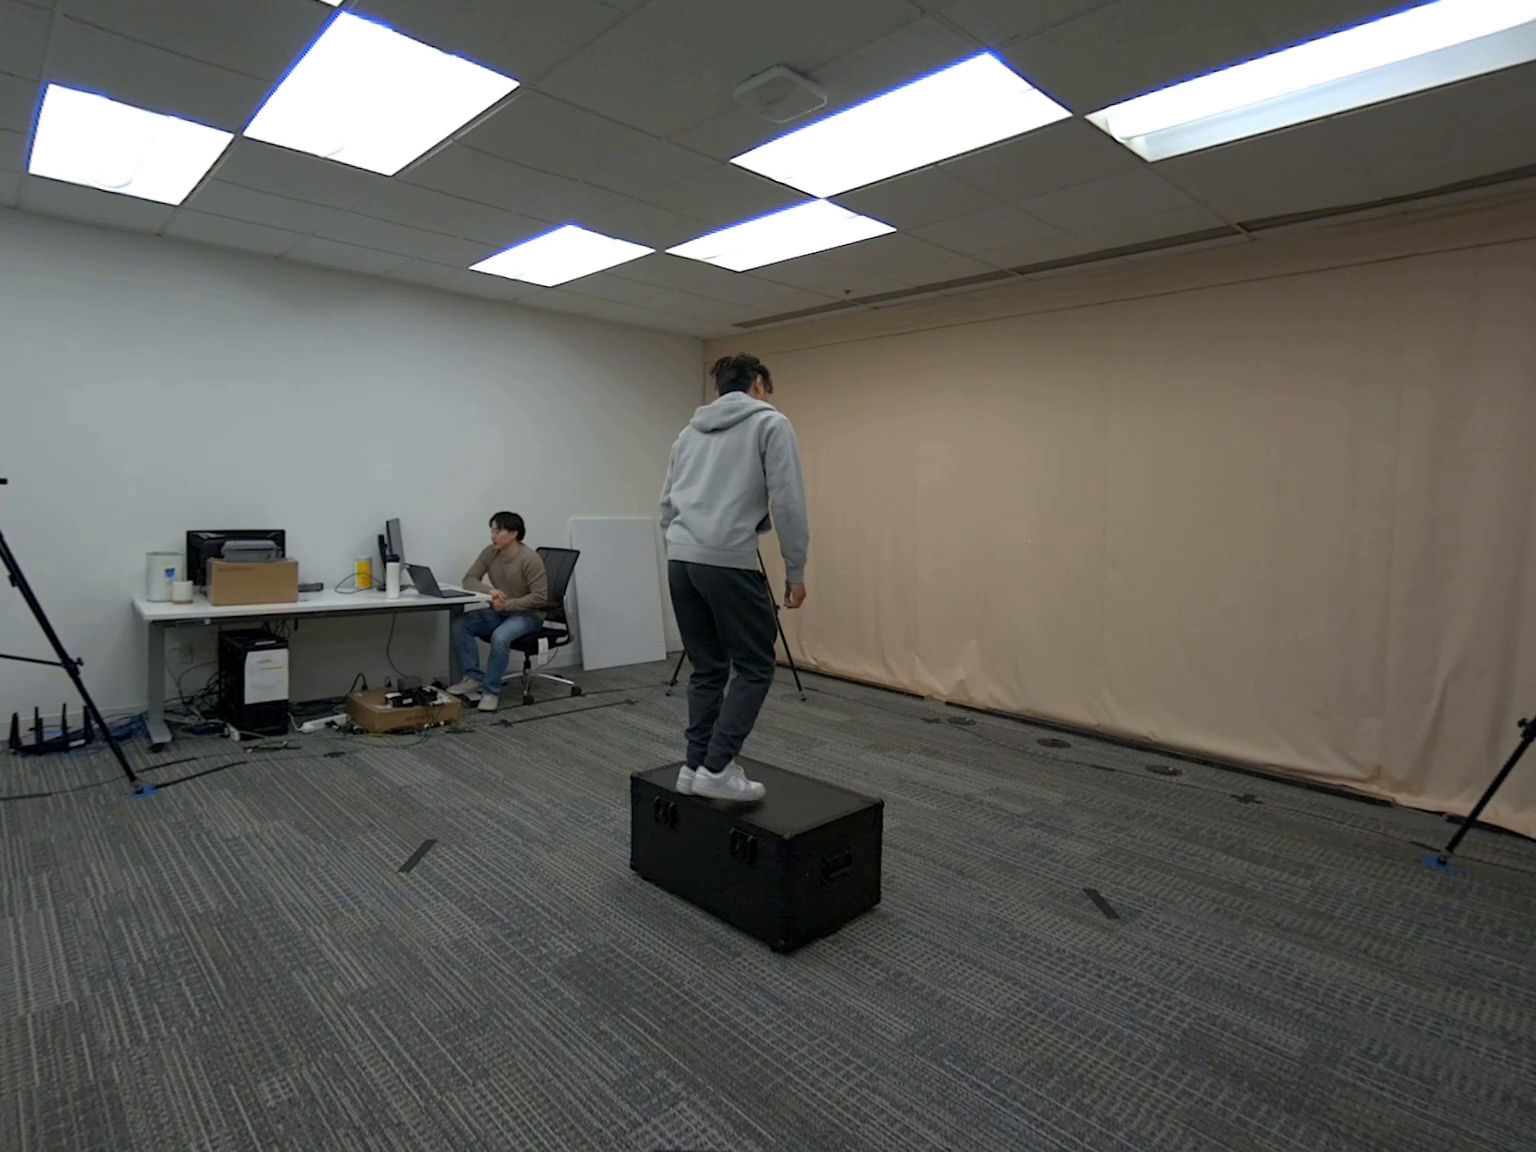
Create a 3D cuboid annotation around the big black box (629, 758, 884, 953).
[{"bbox_3d":[-0.086,0.928,2.998,0.884,0.395,0.509,6,7,45],"label":"big black box"}]
